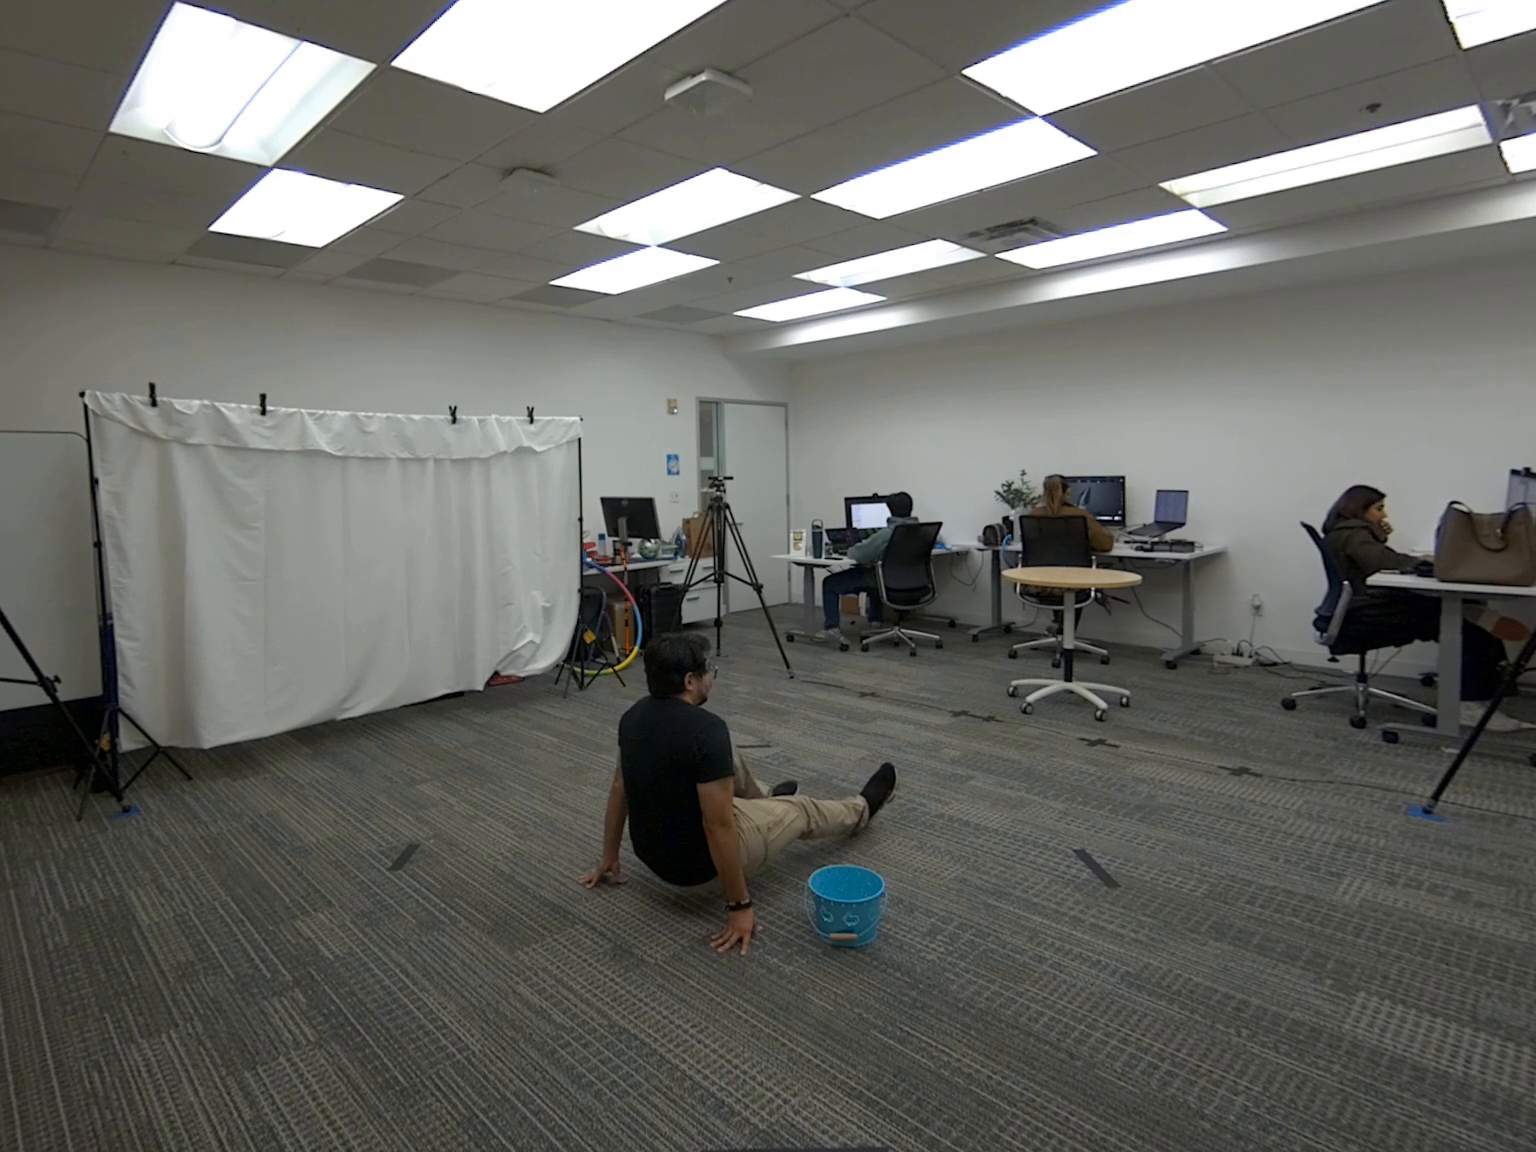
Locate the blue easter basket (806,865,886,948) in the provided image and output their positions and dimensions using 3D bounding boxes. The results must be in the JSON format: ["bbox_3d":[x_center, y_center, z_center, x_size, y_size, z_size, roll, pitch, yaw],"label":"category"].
[{"bbox_3d":[0.241,1.008,2.604,0.243,0.155,0.245,-2,6,-1],"label":"blue easter basket"}]
